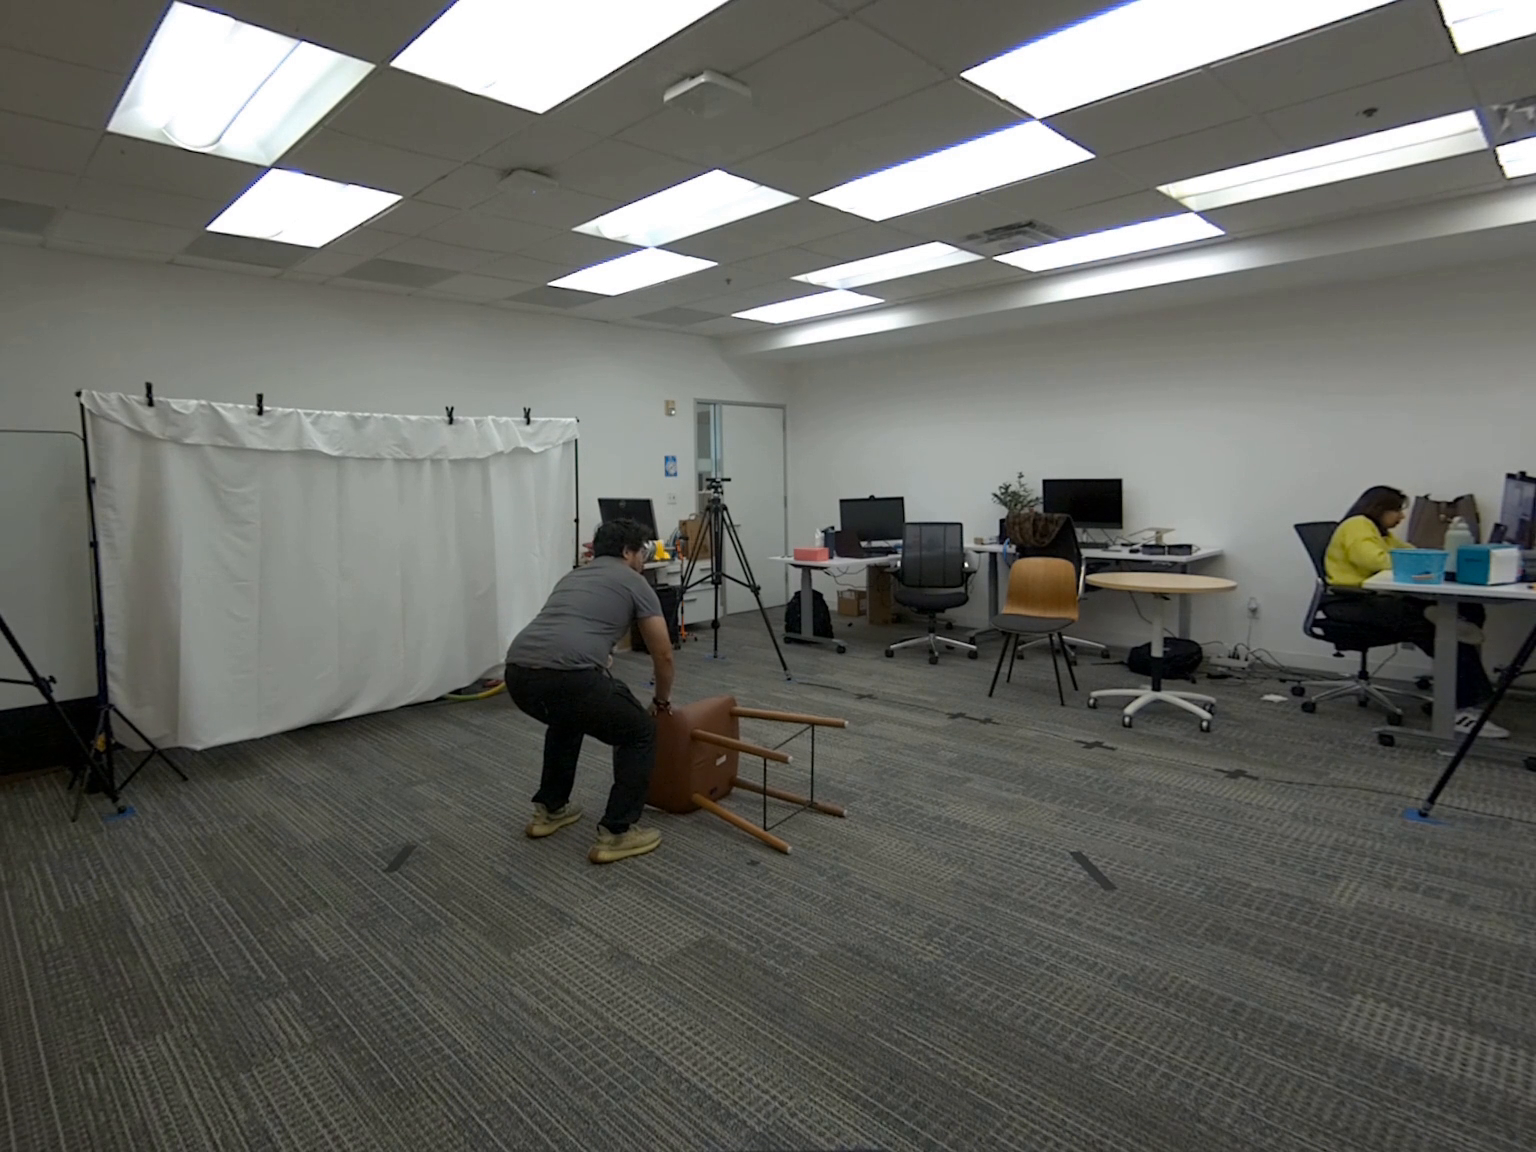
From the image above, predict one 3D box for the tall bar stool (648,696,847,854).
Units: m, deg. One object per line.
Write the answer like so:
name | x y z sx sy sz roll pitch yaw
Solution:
tall bar stool | -0.163 0.777 3.572 0.916 0.453 0.457 5 10 34
